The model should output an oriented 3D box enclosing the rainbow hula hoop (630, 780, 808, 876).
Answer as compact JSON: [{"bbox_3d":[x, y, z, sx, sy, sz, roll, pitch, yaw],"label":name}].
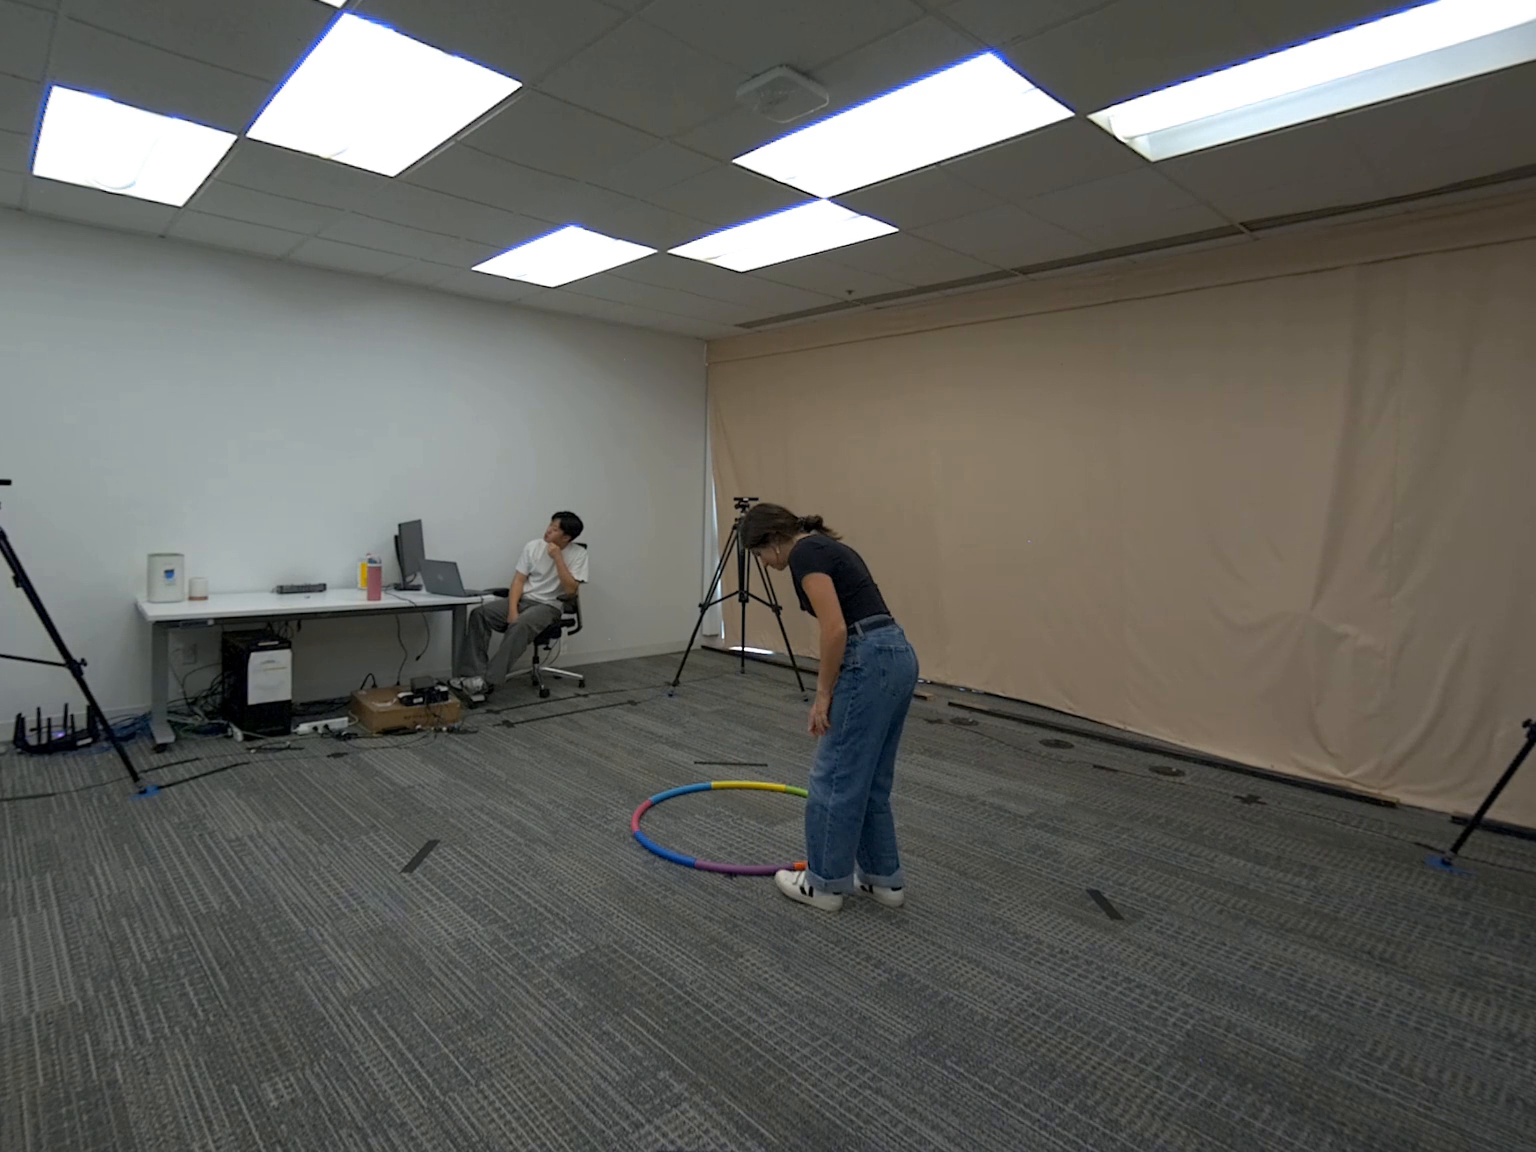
[{"bbox_3d":[-0.100,1.041,3.584,0.978,0.035,0.982,2,5,-1],"label":"rainbow hula hoop"}]
